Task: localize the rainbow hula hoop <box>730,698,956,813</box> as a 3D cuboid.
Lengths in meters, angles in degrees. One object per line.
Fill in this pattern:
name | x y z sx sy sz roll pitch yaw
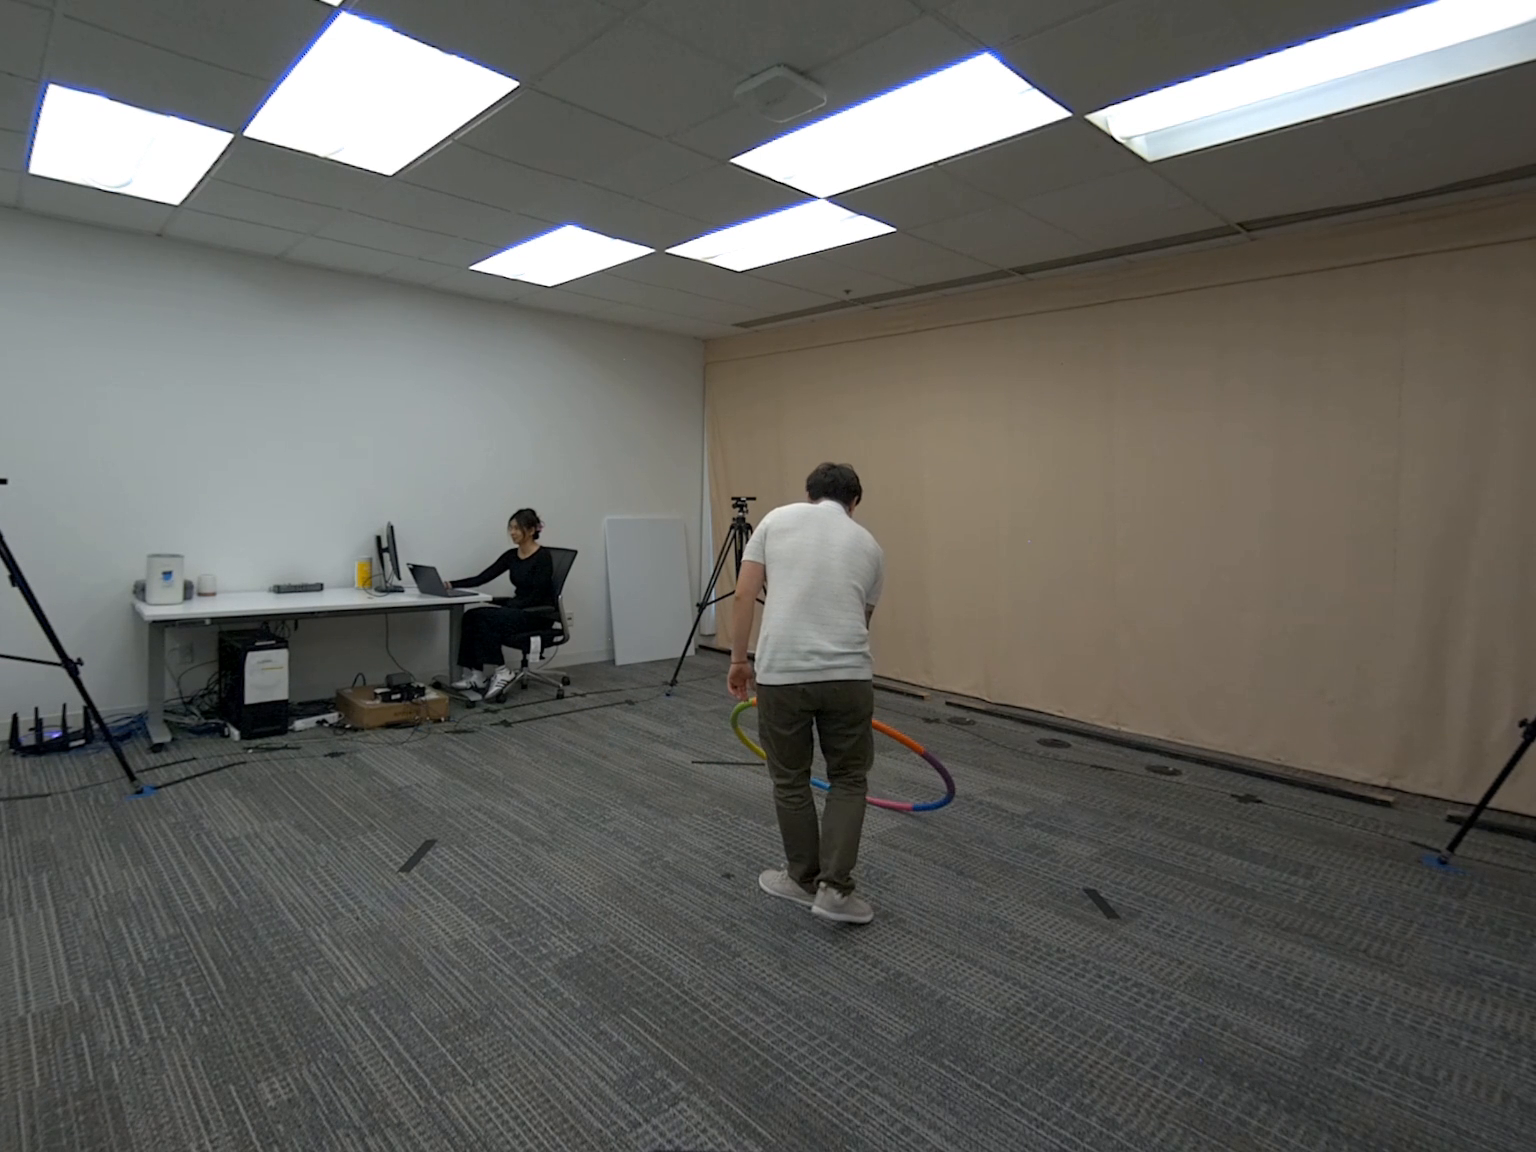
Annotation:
rainbow hula hoop | 0.299 0.762 3.579 0.988 0.036 0.960 18 -29 9
